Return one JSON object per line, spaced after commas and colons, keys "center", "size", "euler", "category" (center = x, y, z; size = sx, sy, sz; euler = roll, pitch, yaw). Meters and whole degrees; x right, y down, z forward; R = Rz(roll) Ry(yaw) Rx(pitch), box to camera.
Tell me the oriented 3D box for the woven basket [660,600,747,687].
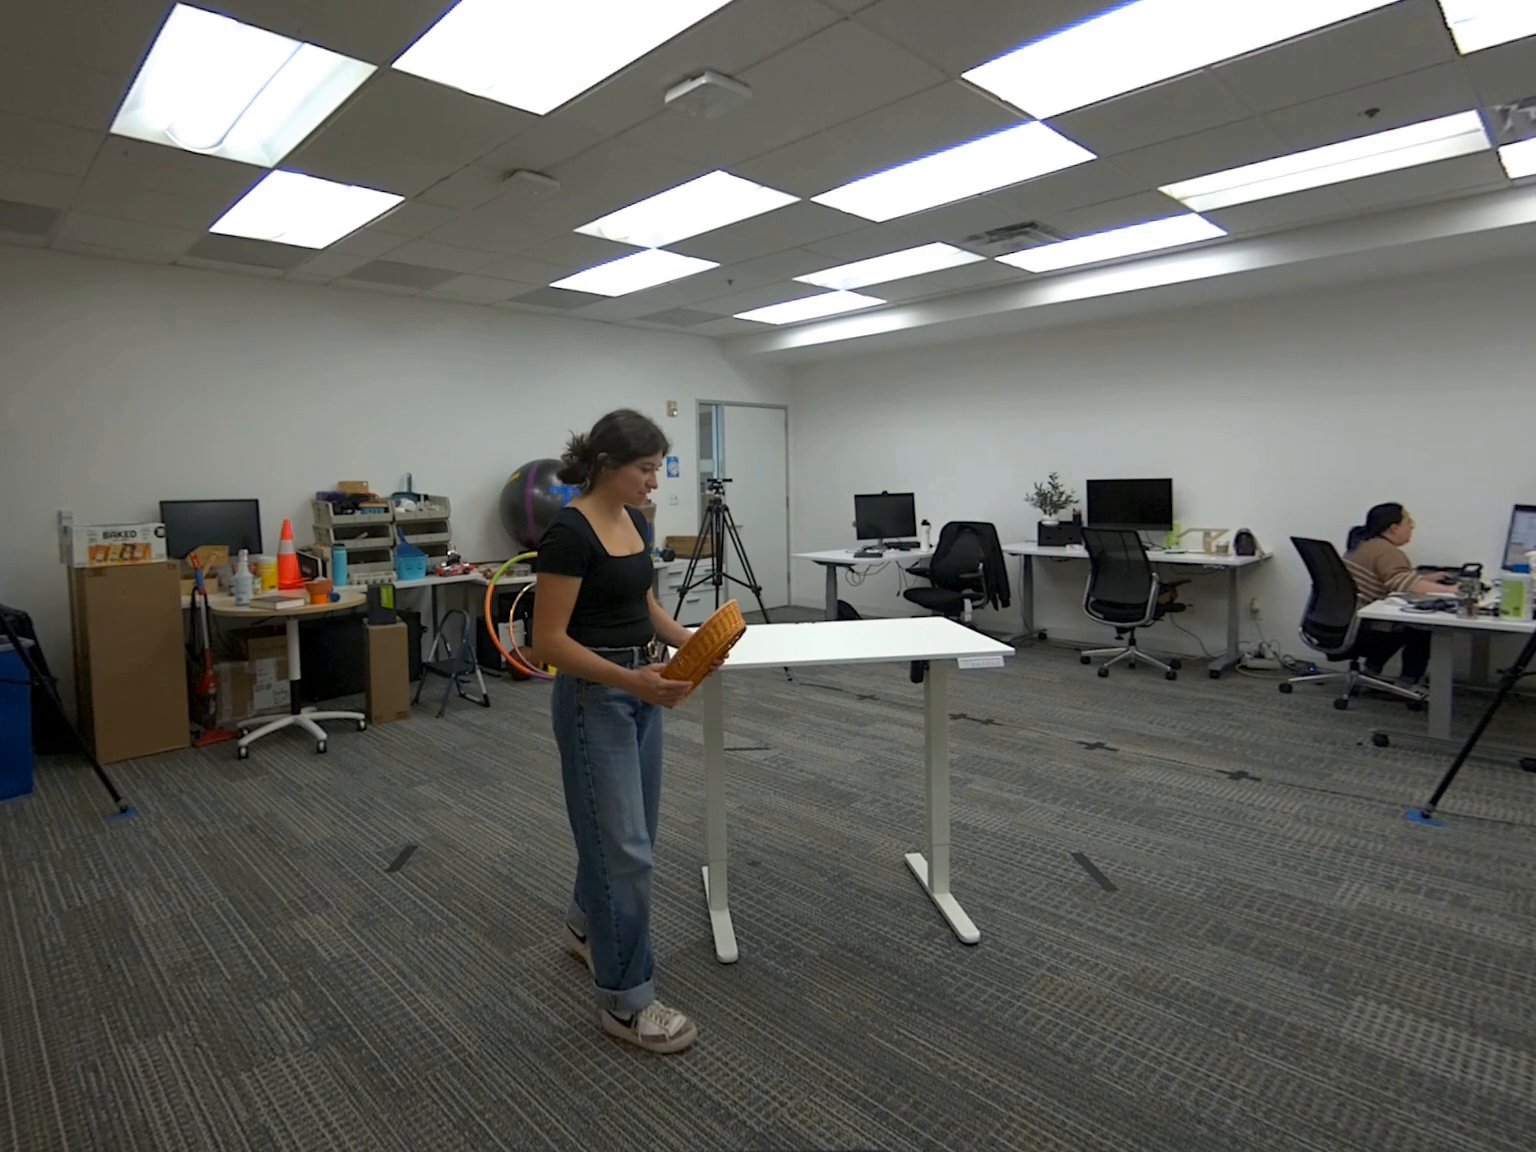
{"center": [-0.182, 0.210, 2.114], "size": [0.074, 0.350, 0.250], "euler": [43, 21, 4], "category": "woven basket"}
